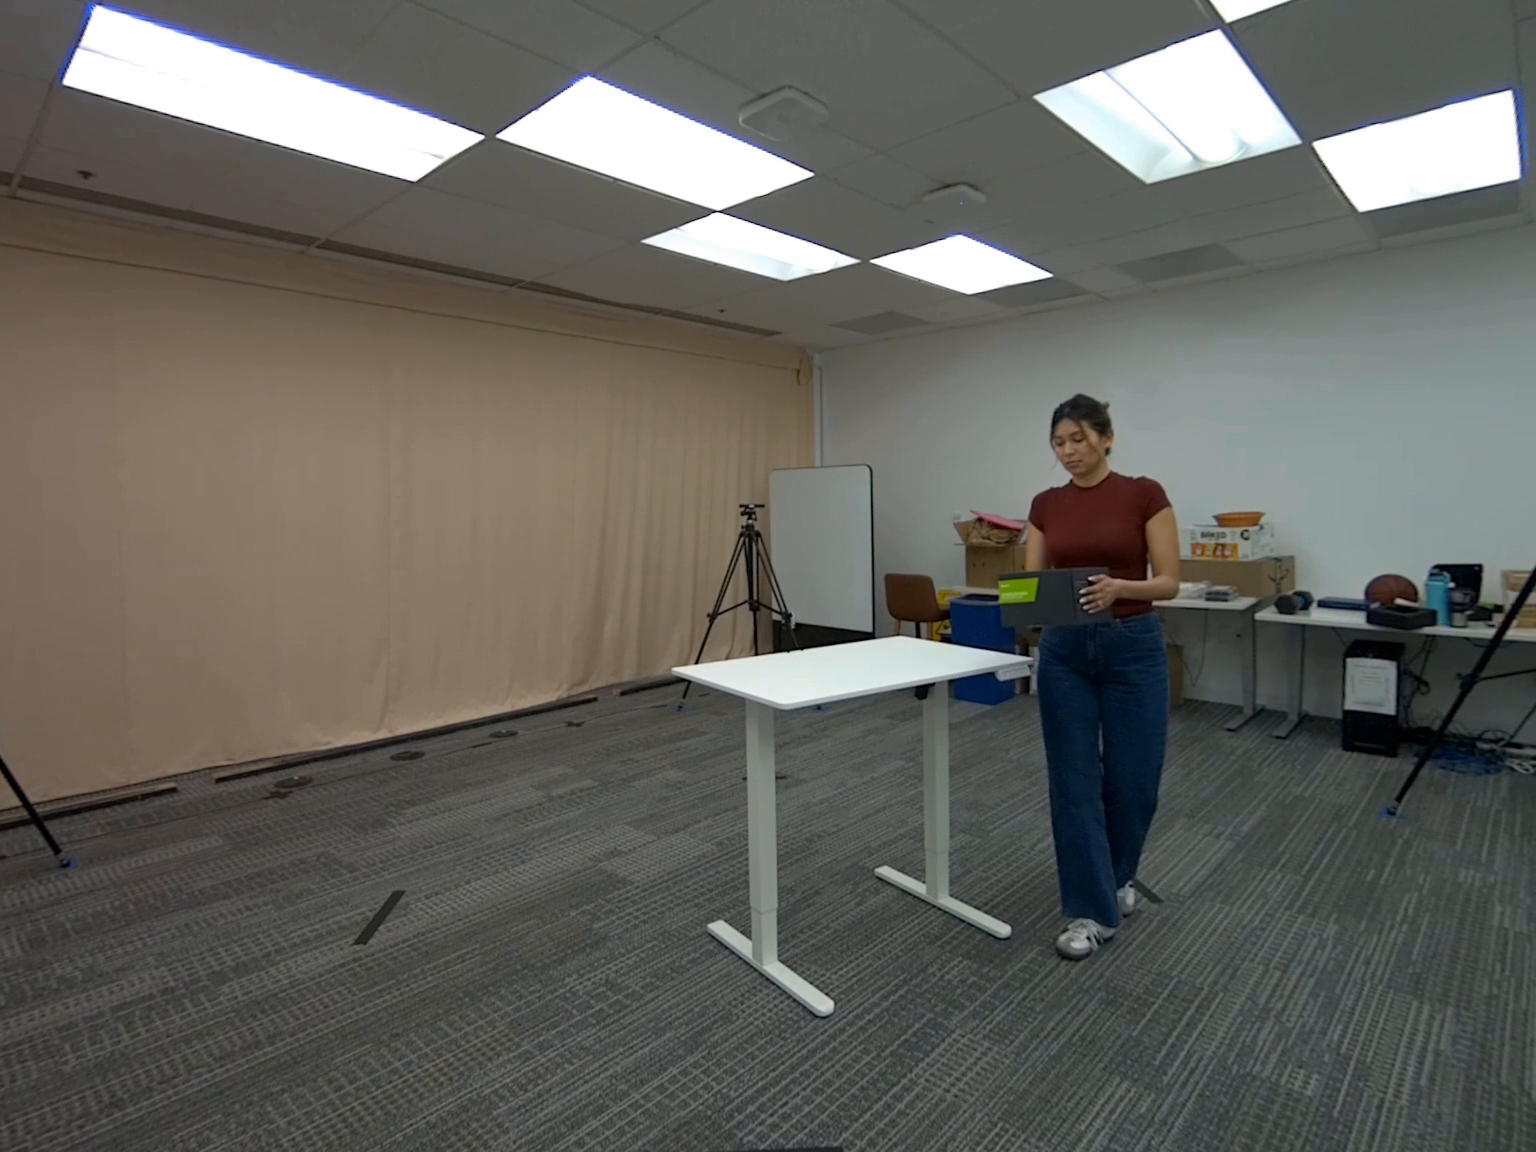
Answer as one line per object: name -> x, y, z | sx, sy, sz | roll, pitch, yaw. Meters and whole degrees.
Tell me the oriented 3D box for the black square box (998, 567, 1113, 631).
black square box -> 0.849, 0.068, 2.423 | 0.210, 0.156, 0.235 | -1, -3, -42
